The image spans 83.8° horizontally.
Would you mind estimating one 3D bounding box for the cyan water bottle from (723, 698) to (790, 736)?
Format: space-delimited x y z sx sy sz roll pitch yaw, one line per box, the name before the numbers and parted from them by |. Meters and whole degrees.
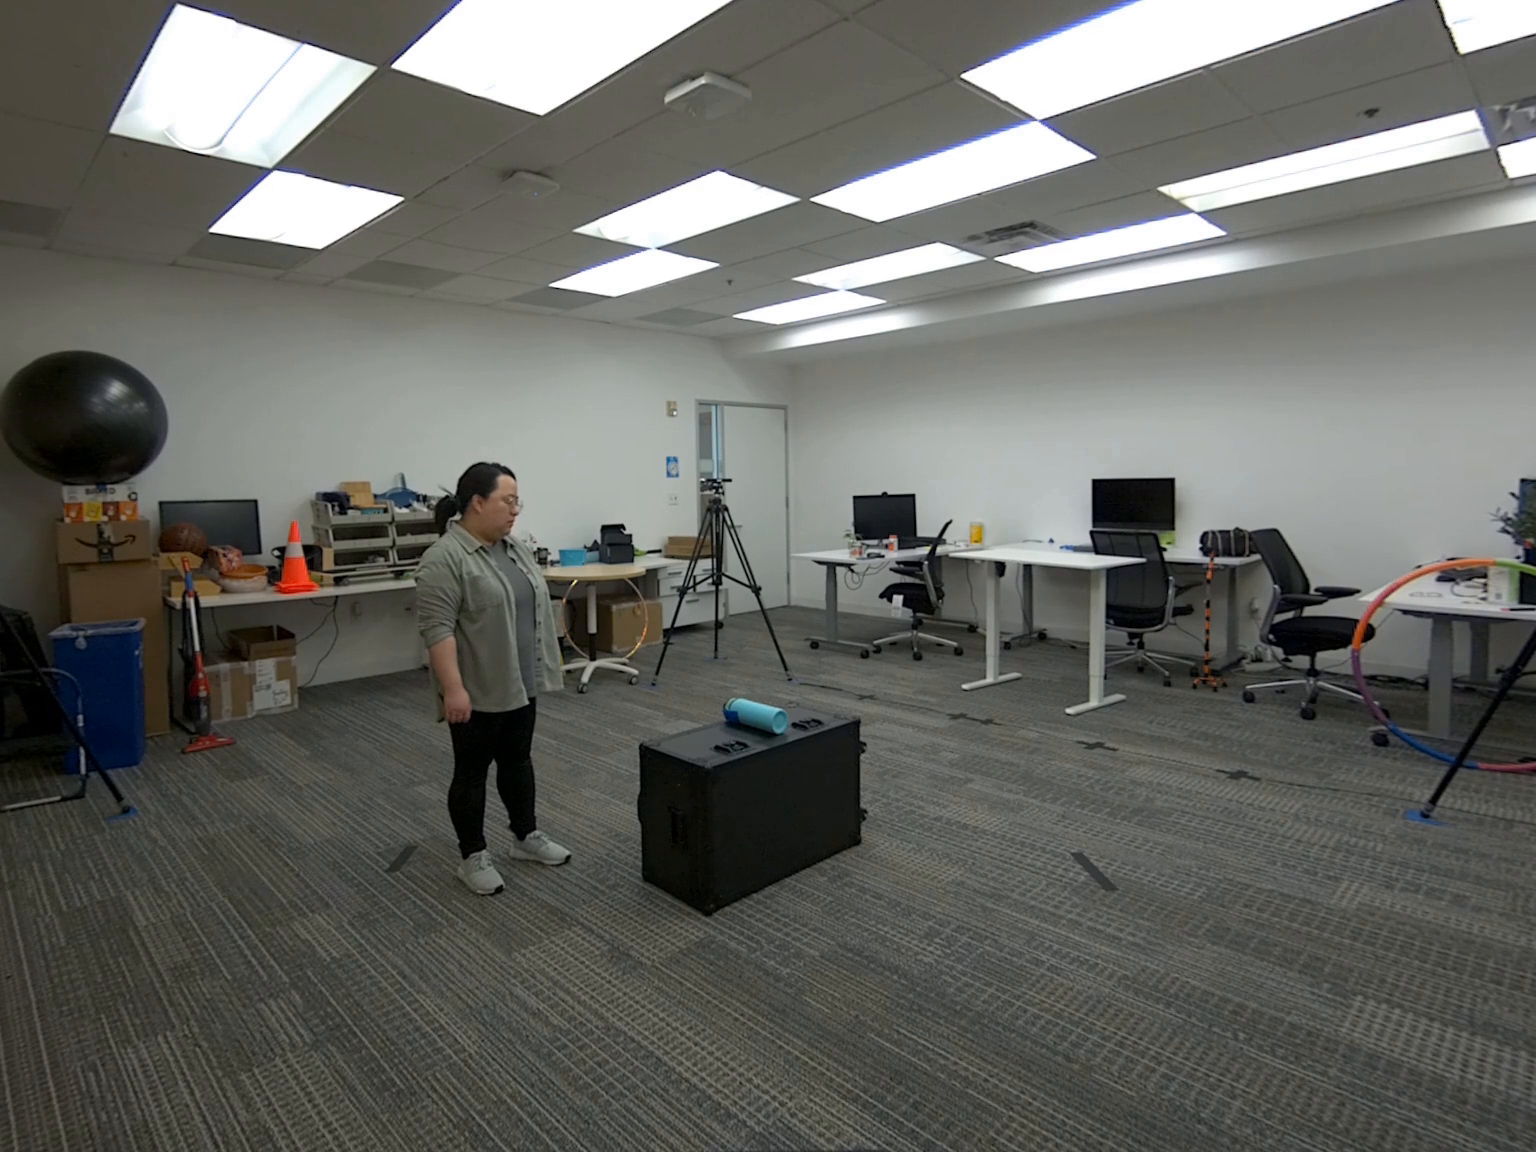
cyan water bottle | -0.053 0.506 3.152 0.090 0.092 0.292 -6 8 -44
